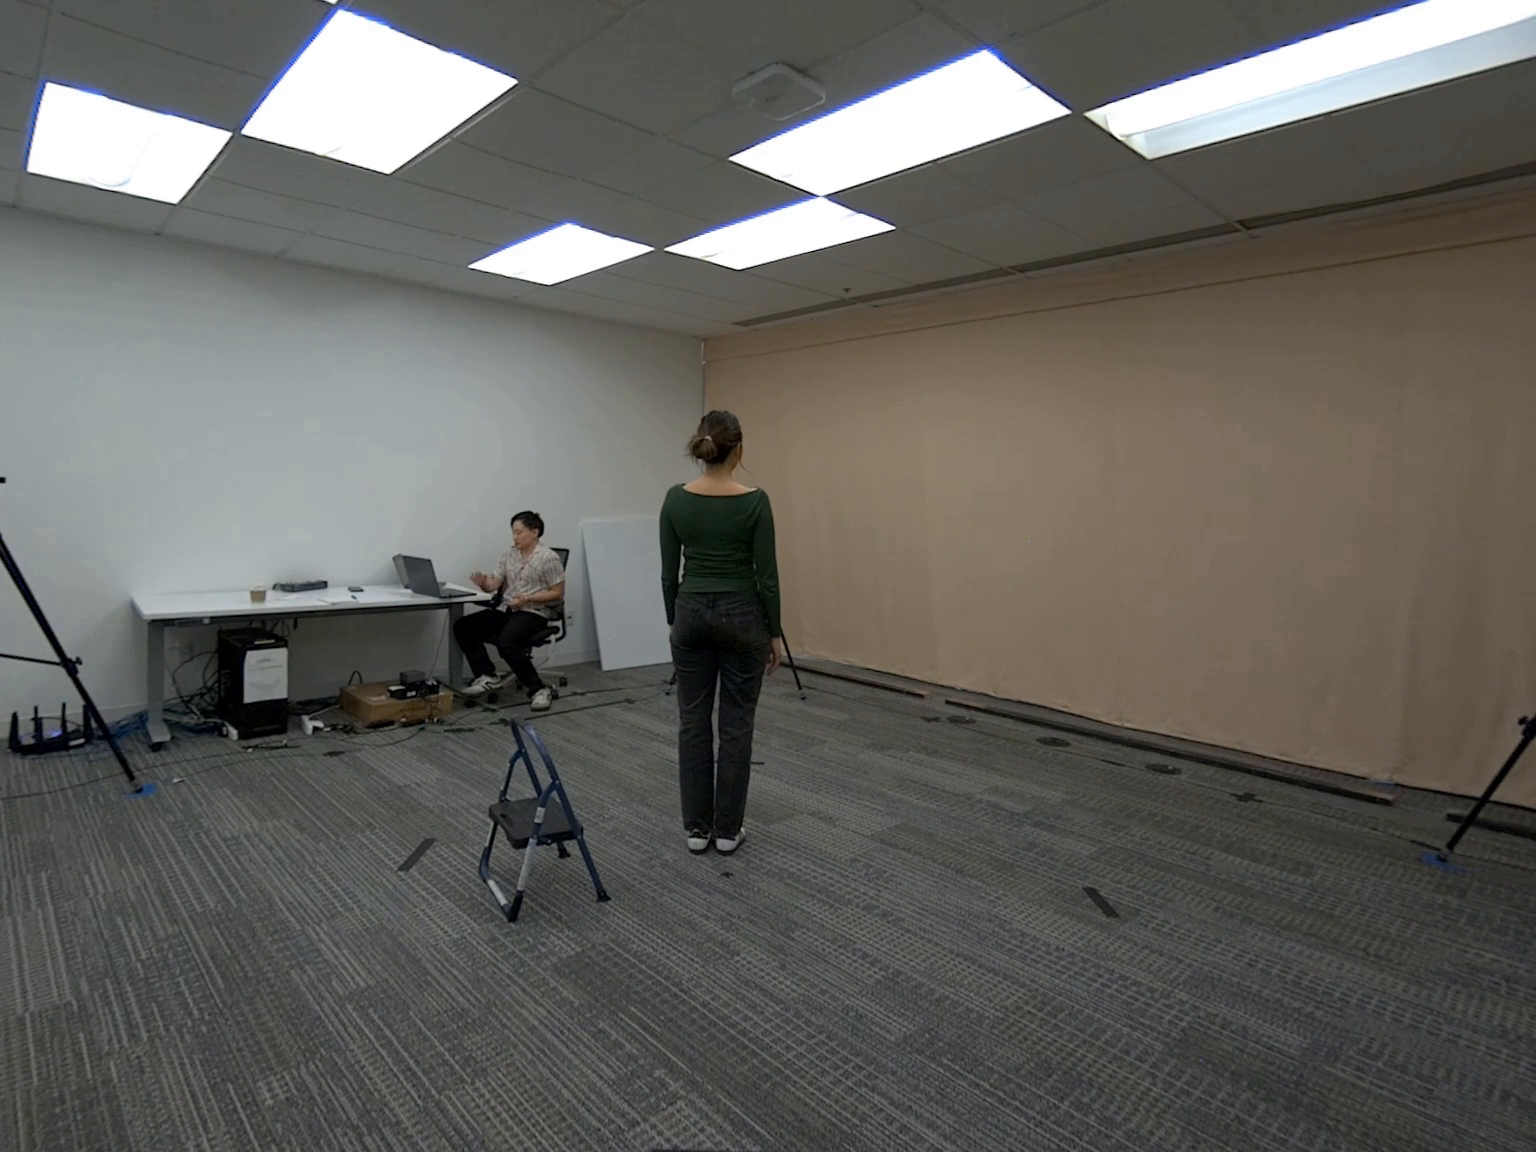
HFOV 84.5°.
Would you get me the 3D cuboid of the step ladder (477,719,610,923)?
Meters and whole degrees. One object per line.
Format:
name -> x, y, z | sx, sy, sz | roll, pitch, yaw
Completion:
step ladder -> -0.801, 0.798, 2.962 | 0.342, 0.604, 0.441 | -1, 4, -33
